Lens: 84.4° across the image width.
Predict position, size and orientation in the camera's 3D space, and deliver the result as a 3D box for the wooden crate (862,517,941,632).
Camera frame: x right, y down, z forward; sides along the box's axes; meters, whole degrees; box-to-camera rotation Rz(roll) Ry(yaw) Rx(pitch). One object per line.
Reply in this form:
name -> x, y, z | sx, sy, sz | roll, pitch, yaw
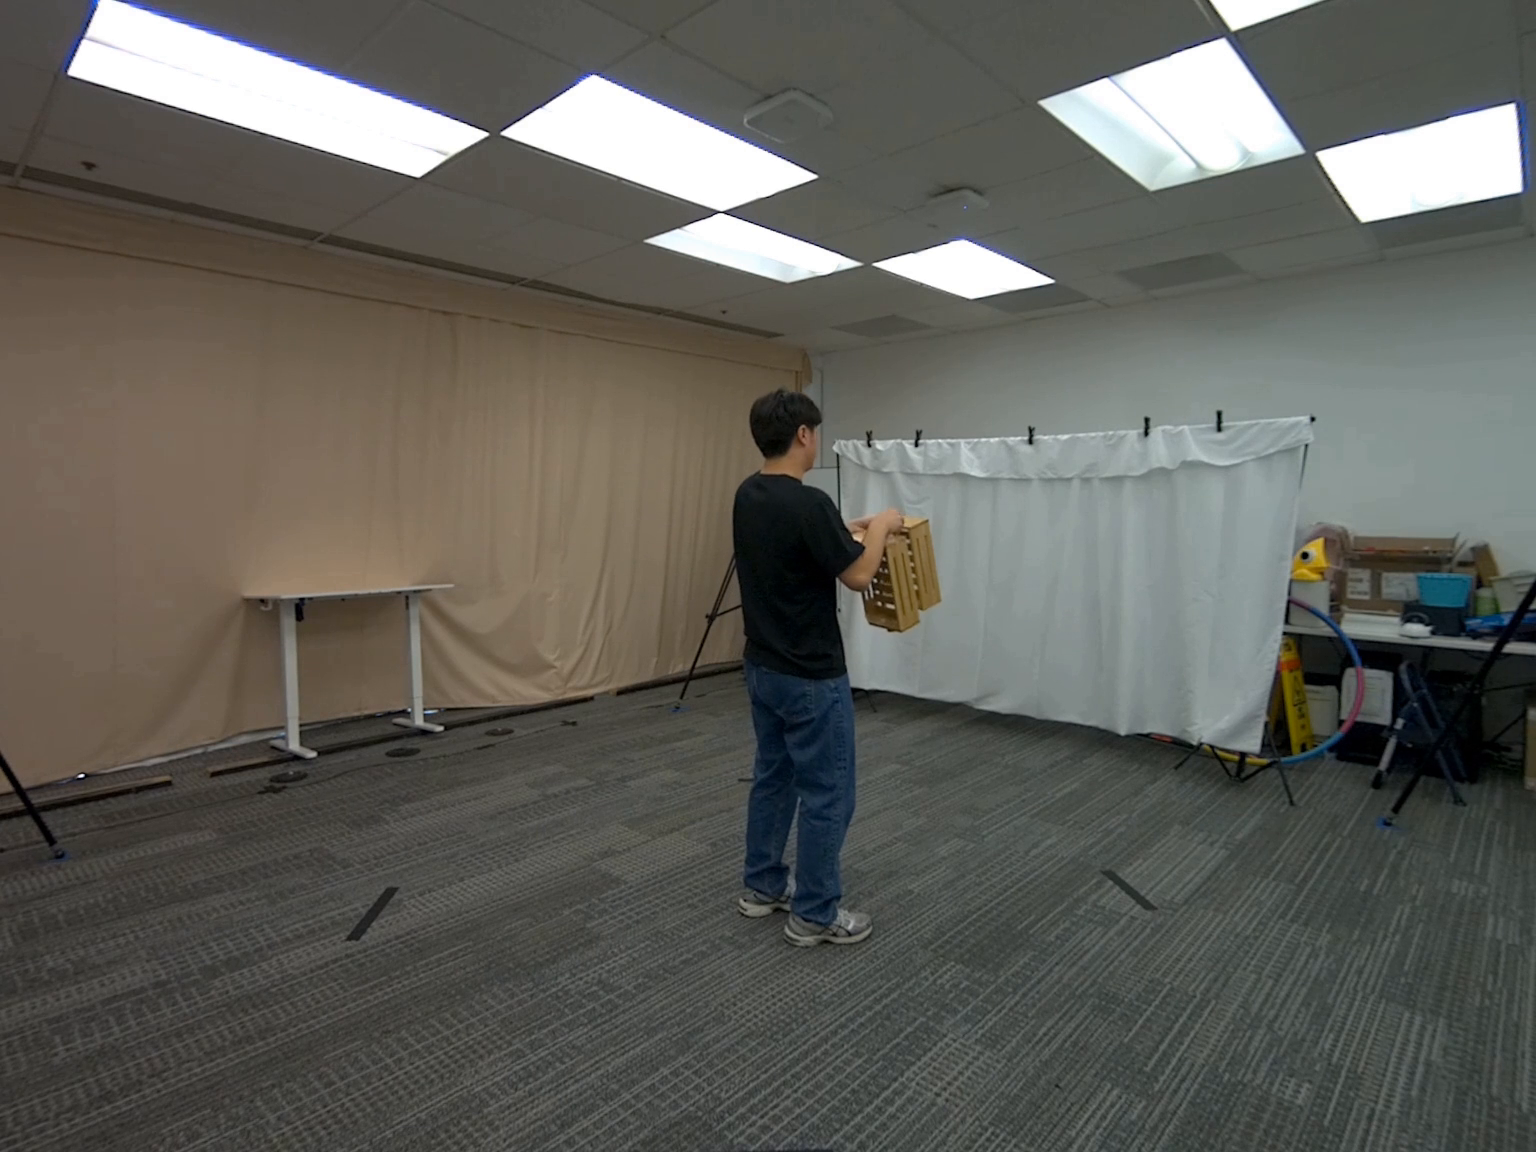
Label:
wooden crate -> 0.407, -0.019, 2.864 | 0.268, 0.320, 0.312 | -23, 20, -32
